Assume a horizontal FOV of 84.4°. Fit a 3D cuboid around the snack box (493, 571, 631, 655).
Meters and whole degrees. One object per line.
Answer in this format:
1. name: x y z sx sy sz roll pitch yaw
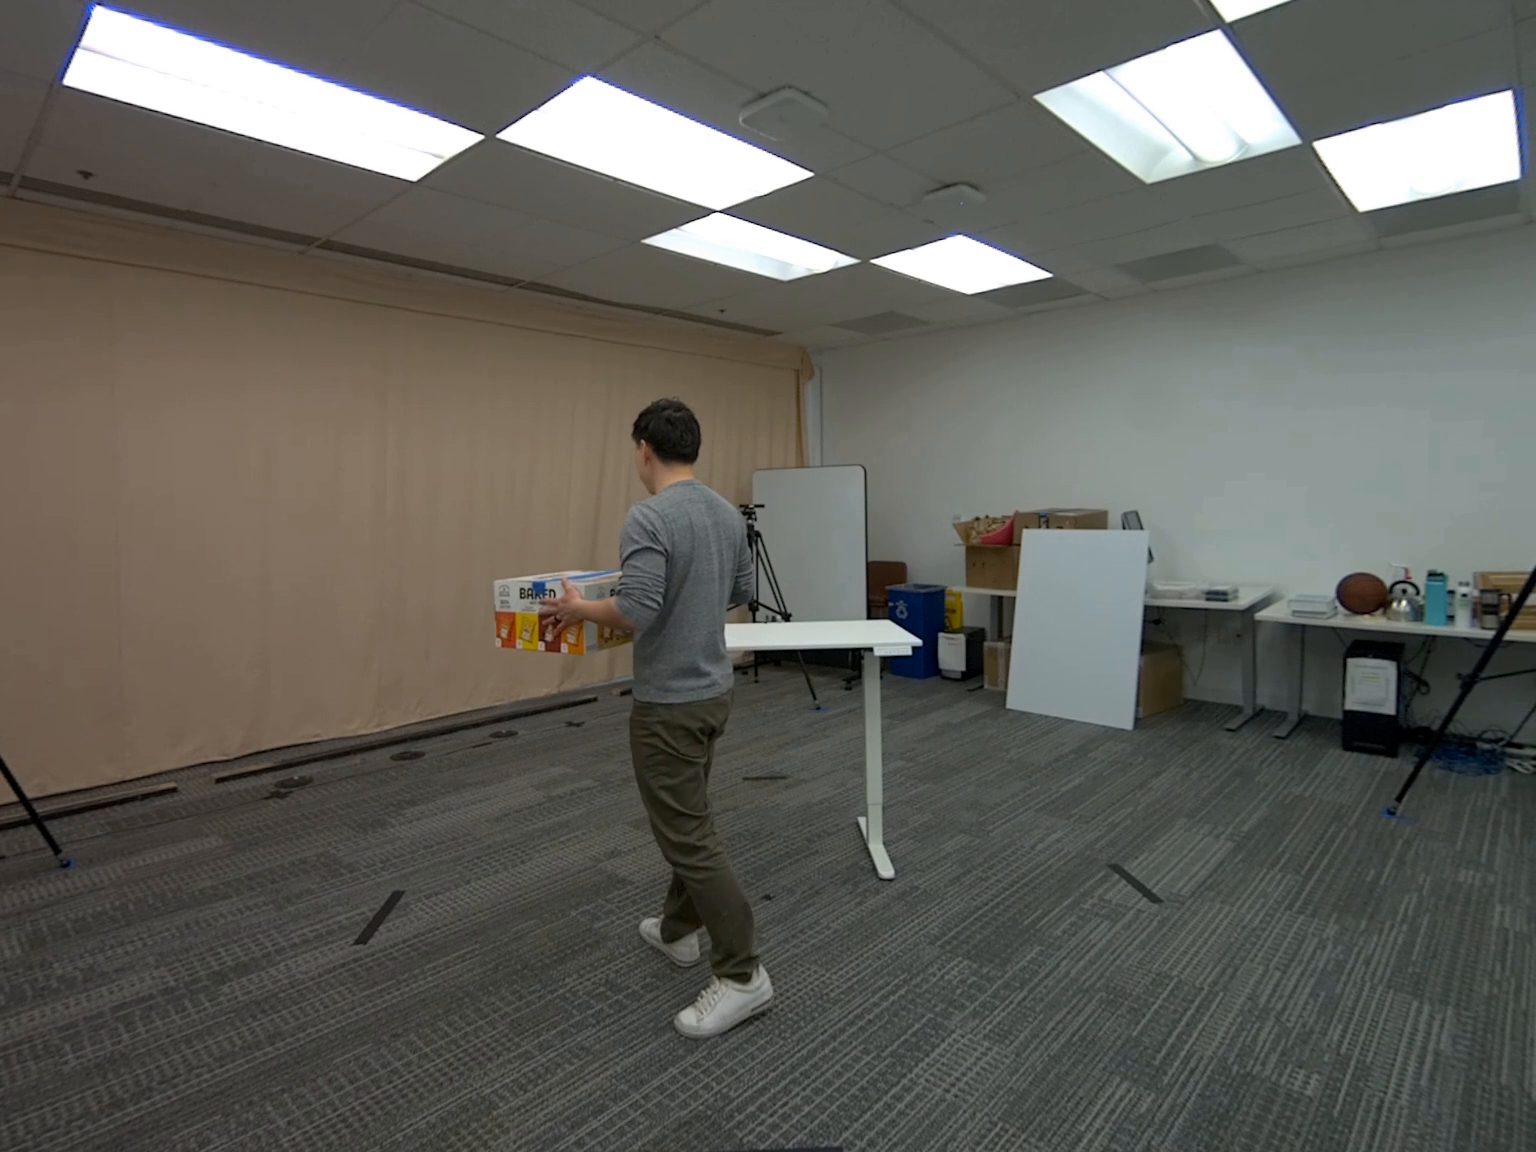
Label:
1. snack box: -0.582 0.106 2.618 0.350 0.205 0.395 2 5 27
